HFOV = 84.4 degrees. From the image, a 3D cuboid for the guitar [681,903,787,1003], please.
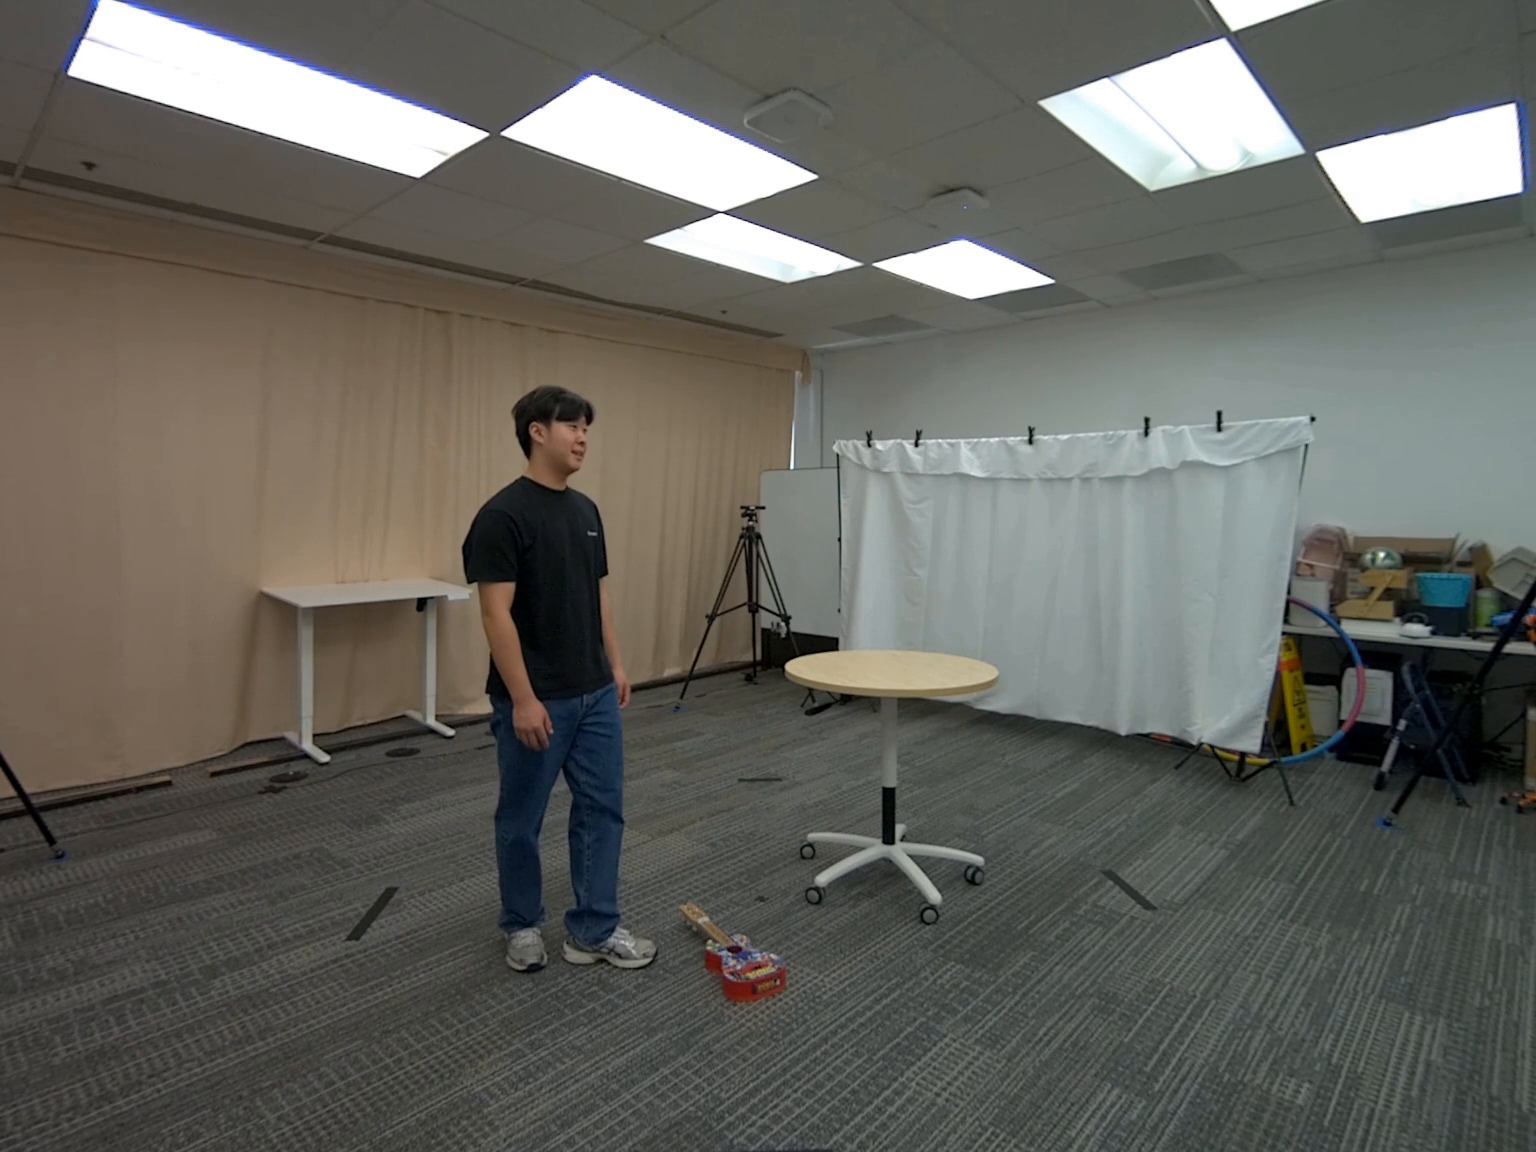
[{"bbox_3d":[-0.112,1.146,2.602,0.189,0.070,0.510,-2,5,-23],"label":"guitar"}]
